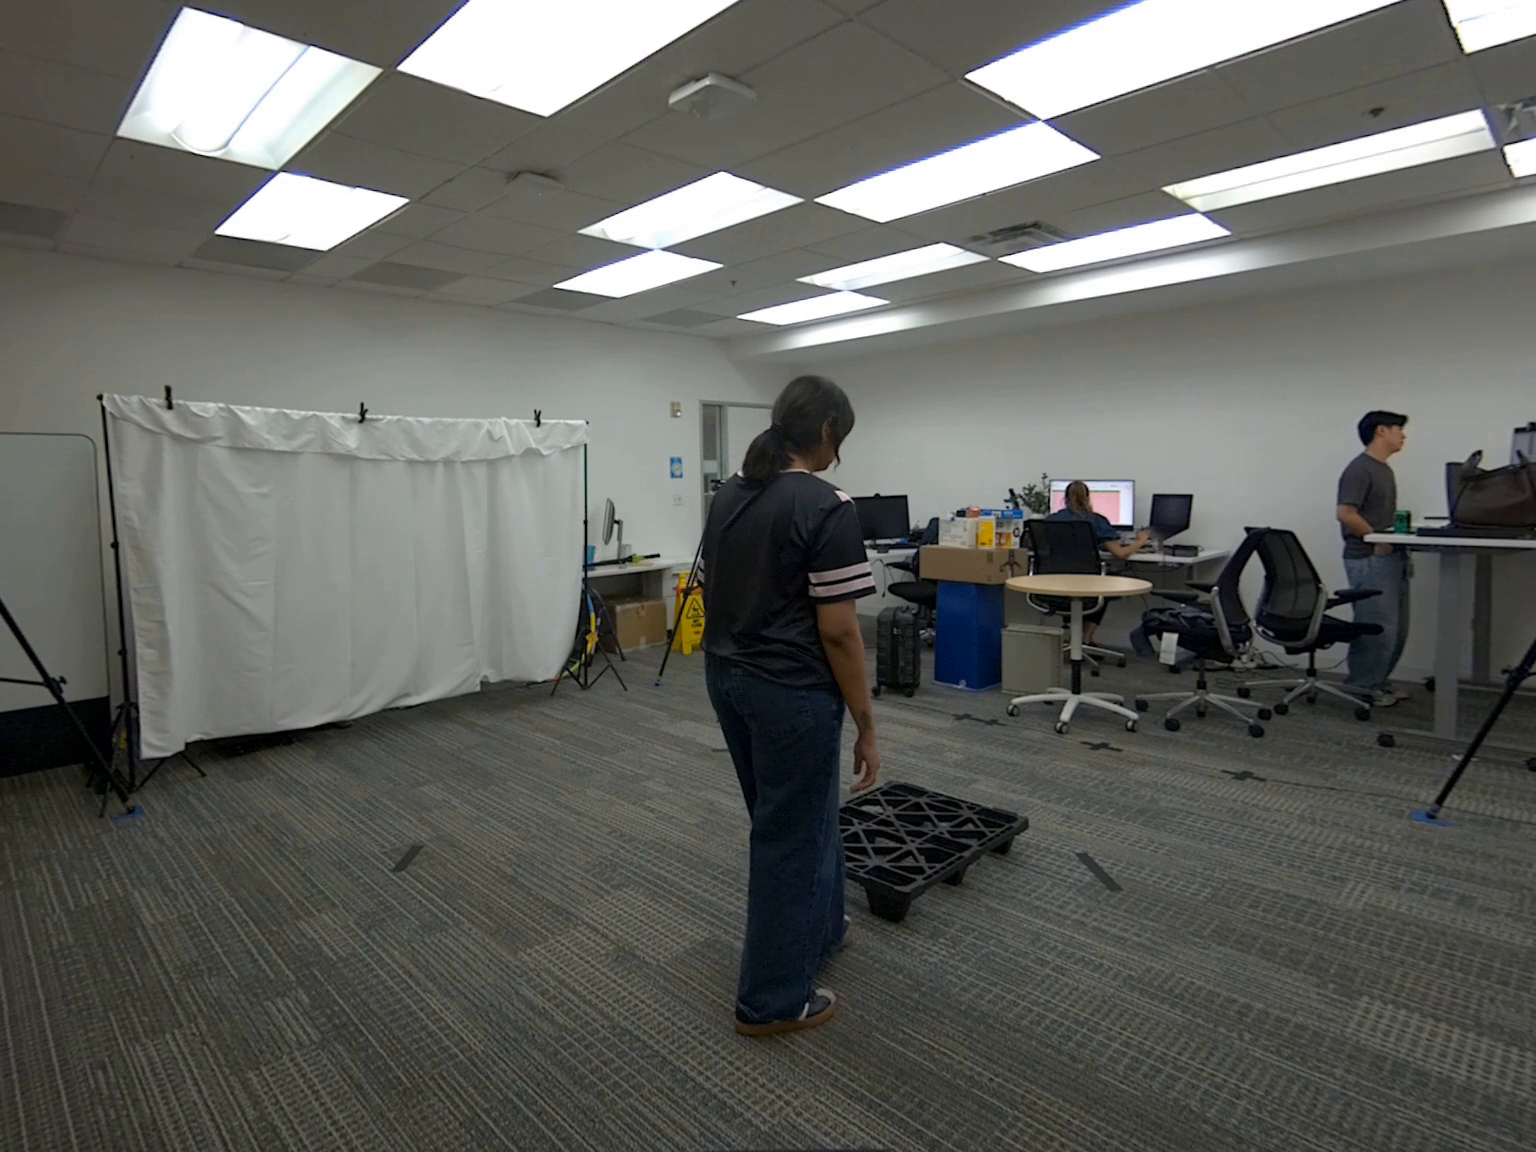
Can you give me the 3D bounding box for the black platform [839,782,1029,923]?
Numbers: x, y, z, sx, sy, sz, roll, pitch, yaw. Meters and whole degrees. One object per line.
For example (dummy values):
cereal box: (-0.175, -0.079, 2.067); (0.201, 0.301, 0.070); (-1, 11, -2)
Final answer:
black platform: (0.475, 0.974, 3.087); (0.624, 0.143, 0.784); (4, 8, 44)
